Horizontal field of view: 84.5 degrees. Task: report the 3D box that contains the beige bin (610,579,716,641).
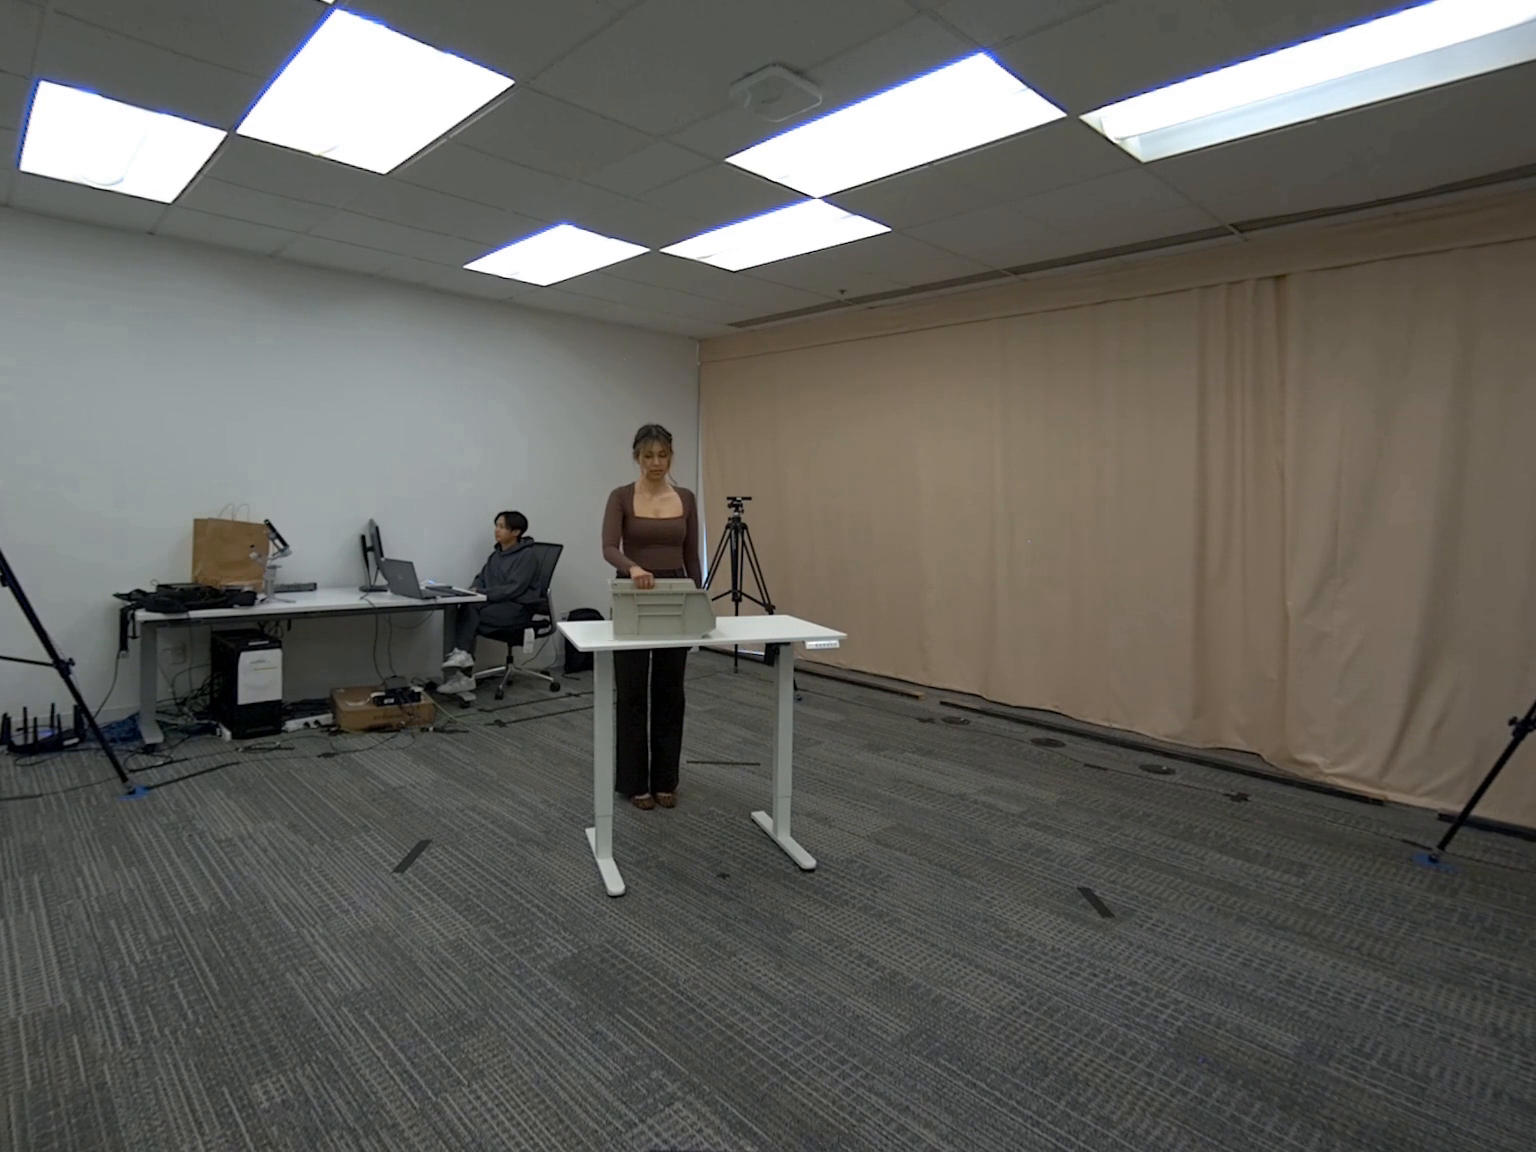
[{"bbox_3d":[-0.414,0.121,3.190,0.374,0.188,0.427,-1,5,-11],"label":"beige bin"}]
